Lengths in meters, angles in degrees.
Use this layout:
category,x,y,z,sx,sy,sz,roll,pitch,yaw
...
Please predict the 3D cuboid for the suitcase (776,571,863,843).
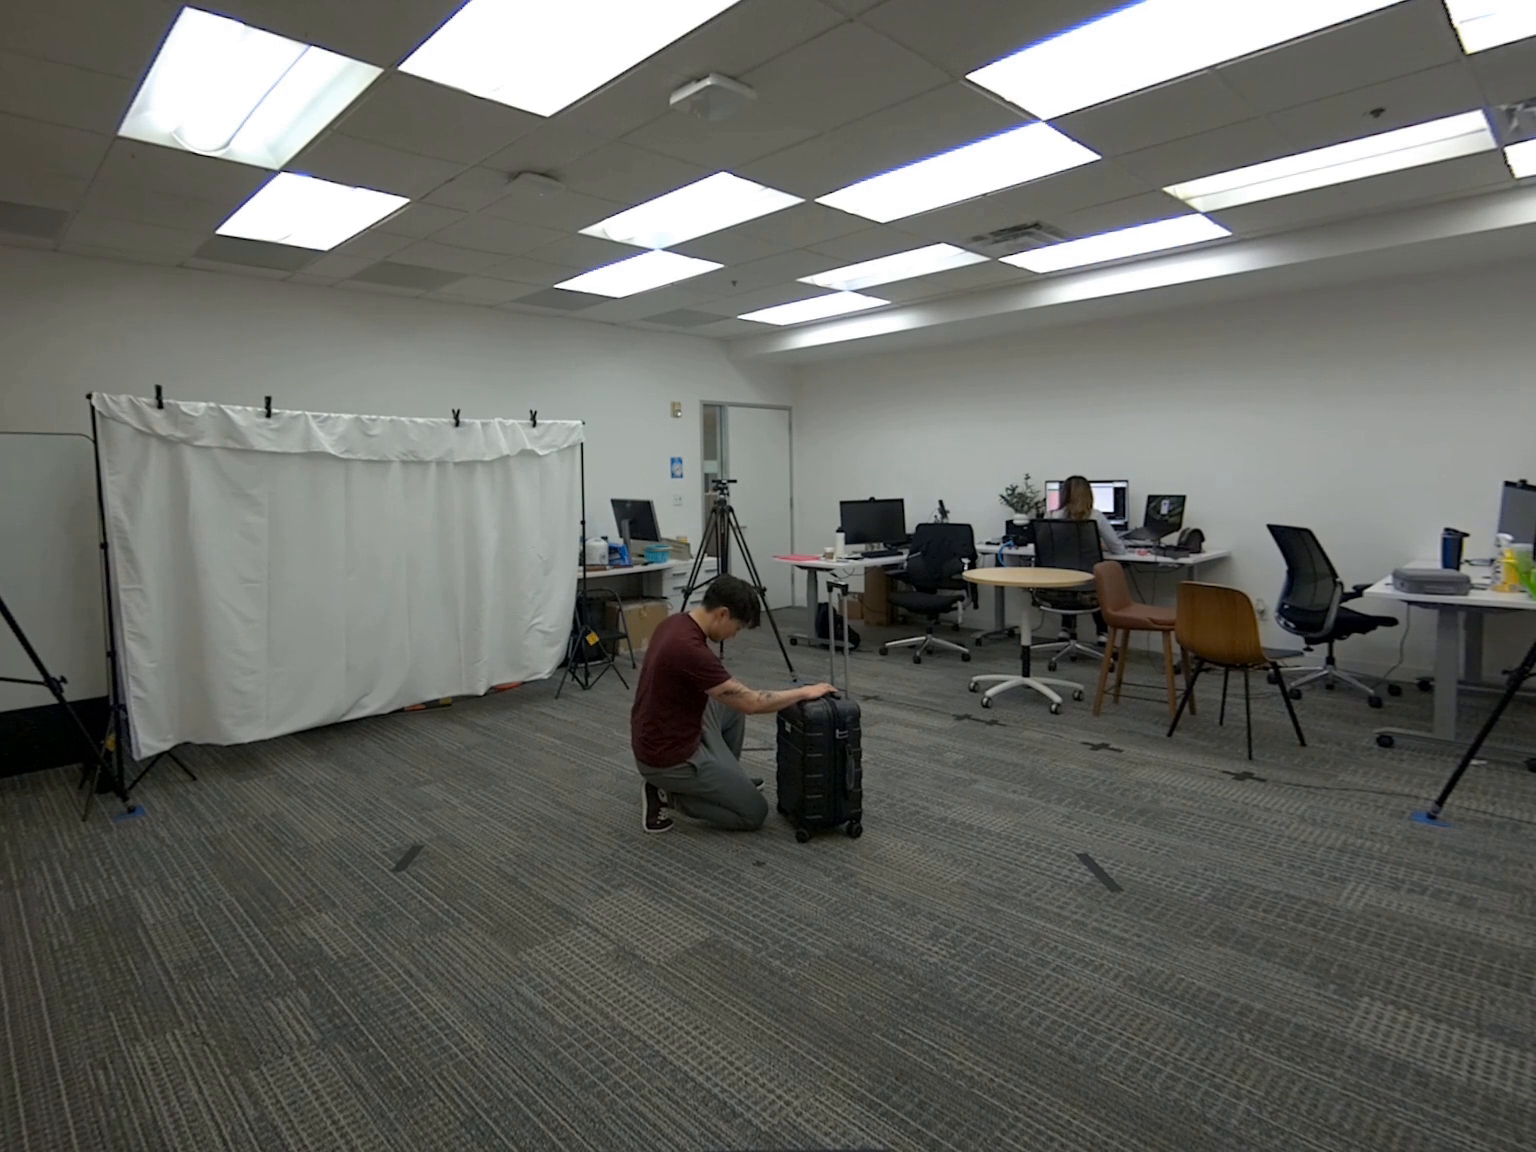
category,x,y,z,sx,sy,sz,roll,pitch,yaw
suitcase,0.196,0.525,3.422,0.253,0.976,0.390,-3,3,-16
